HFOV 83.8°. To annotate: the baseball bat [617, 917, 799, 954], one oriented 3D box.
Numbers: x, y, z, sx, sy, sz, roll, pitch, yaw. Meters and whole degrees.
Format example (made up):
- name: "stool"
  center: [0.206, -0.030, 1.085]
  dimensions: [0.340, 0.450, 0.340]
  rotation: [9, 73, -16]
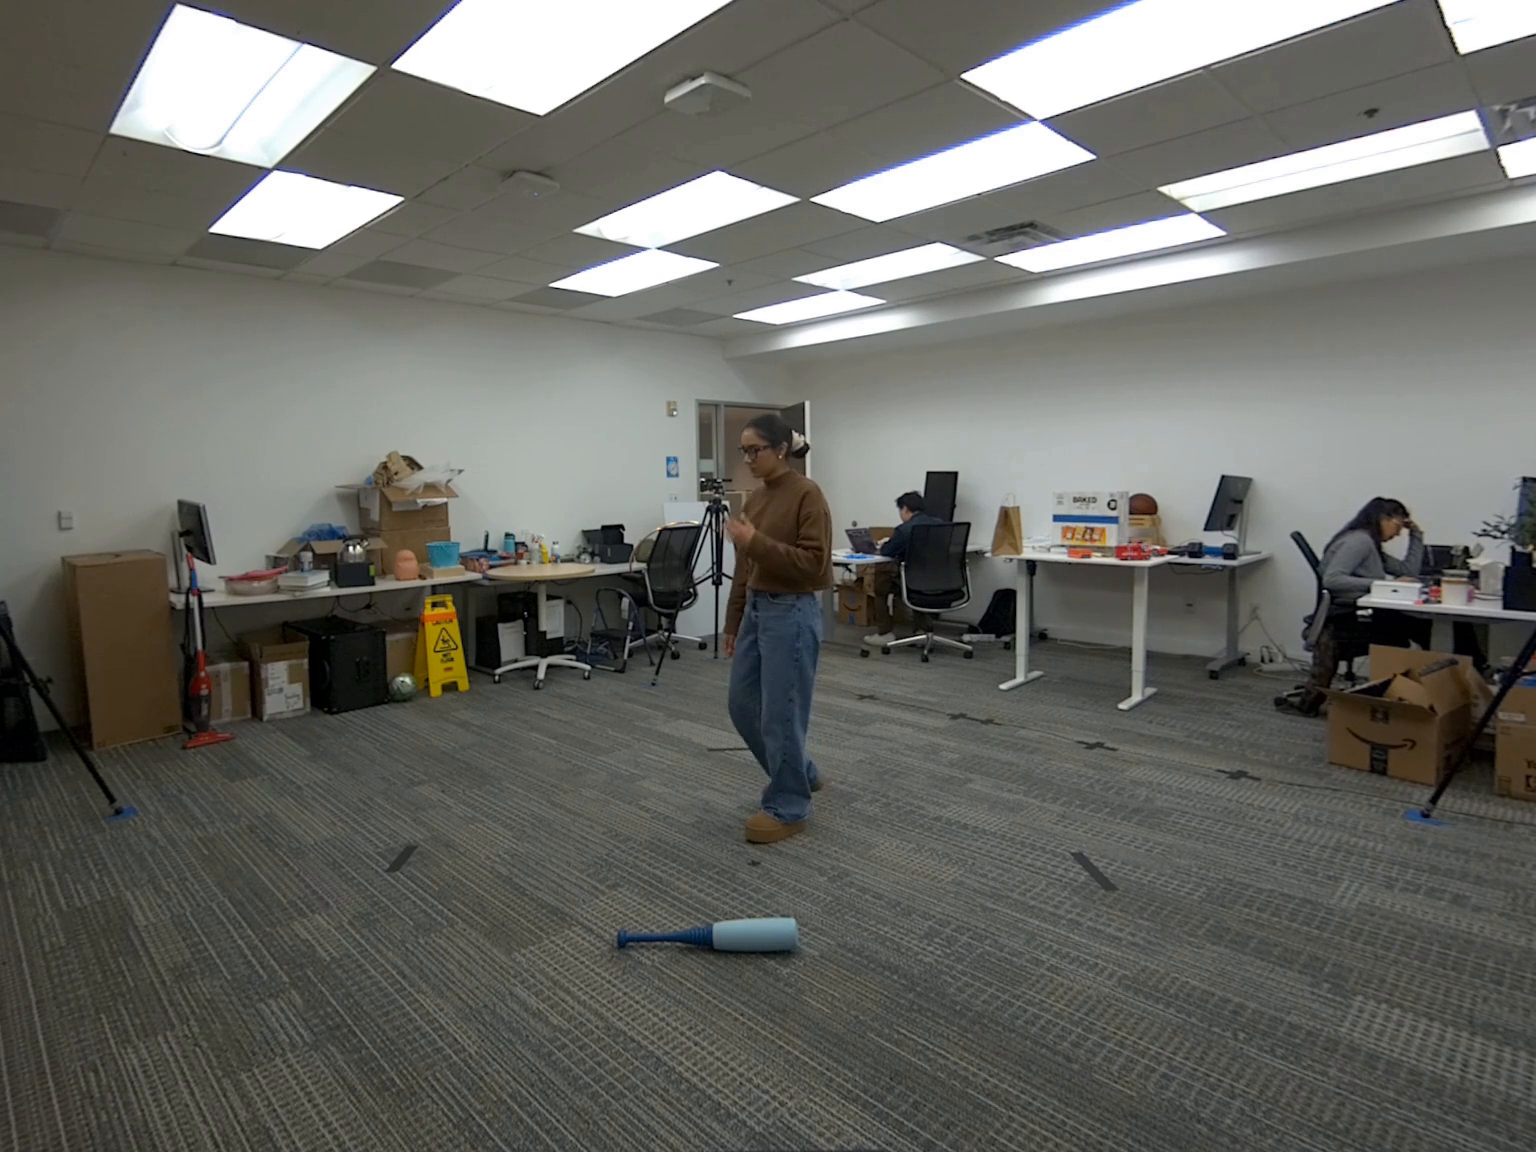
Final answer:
- name: "baseball bat"
  center: [-0.177, 1.080, 2.546]
  dimensions: [0.545, 0.089, 0.089]
  rotation: [-4, 5, 5]
